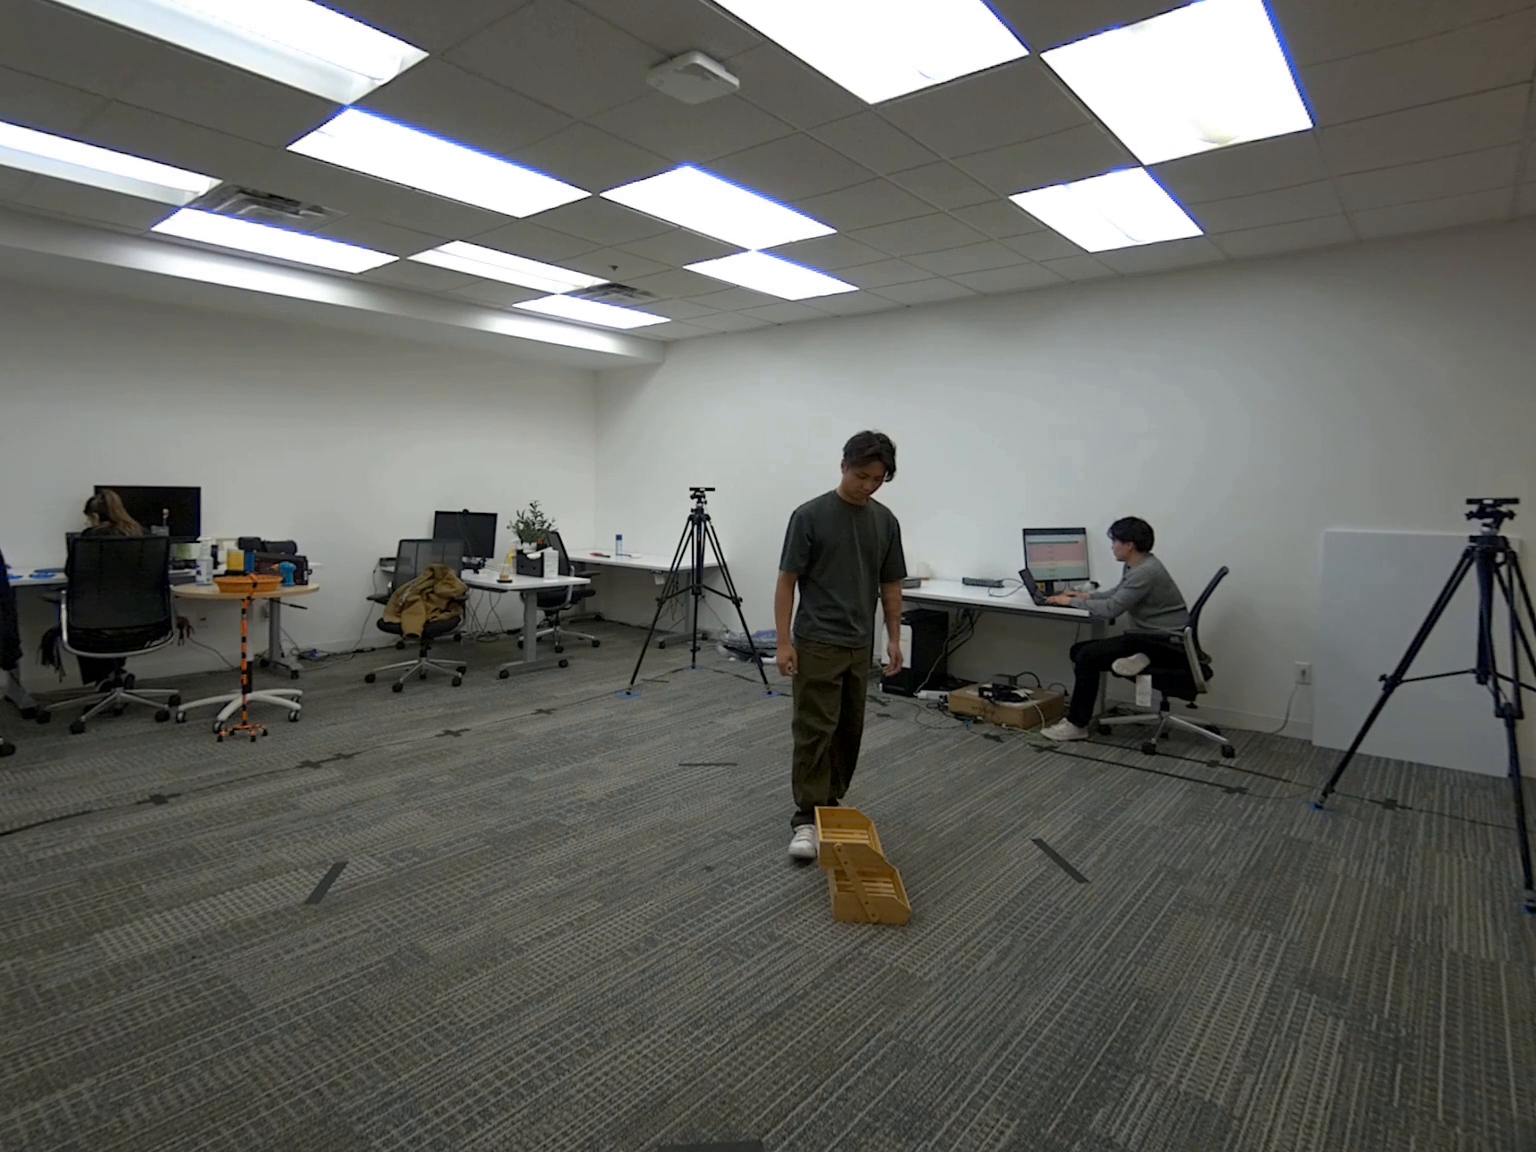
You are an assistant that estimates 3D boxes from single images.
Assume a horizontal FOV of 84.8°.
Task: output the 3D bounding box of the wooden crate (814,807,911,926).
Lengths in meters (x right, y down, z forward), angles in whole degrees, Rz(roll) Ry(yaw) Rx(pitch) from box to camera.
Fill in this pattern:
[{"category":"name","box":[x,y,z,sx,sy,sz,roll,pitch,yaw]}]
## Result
[{"category":"wooden crate","box":[0.318,0.965,2.888,0.303,0.272,0.325,1,5,2]}]
